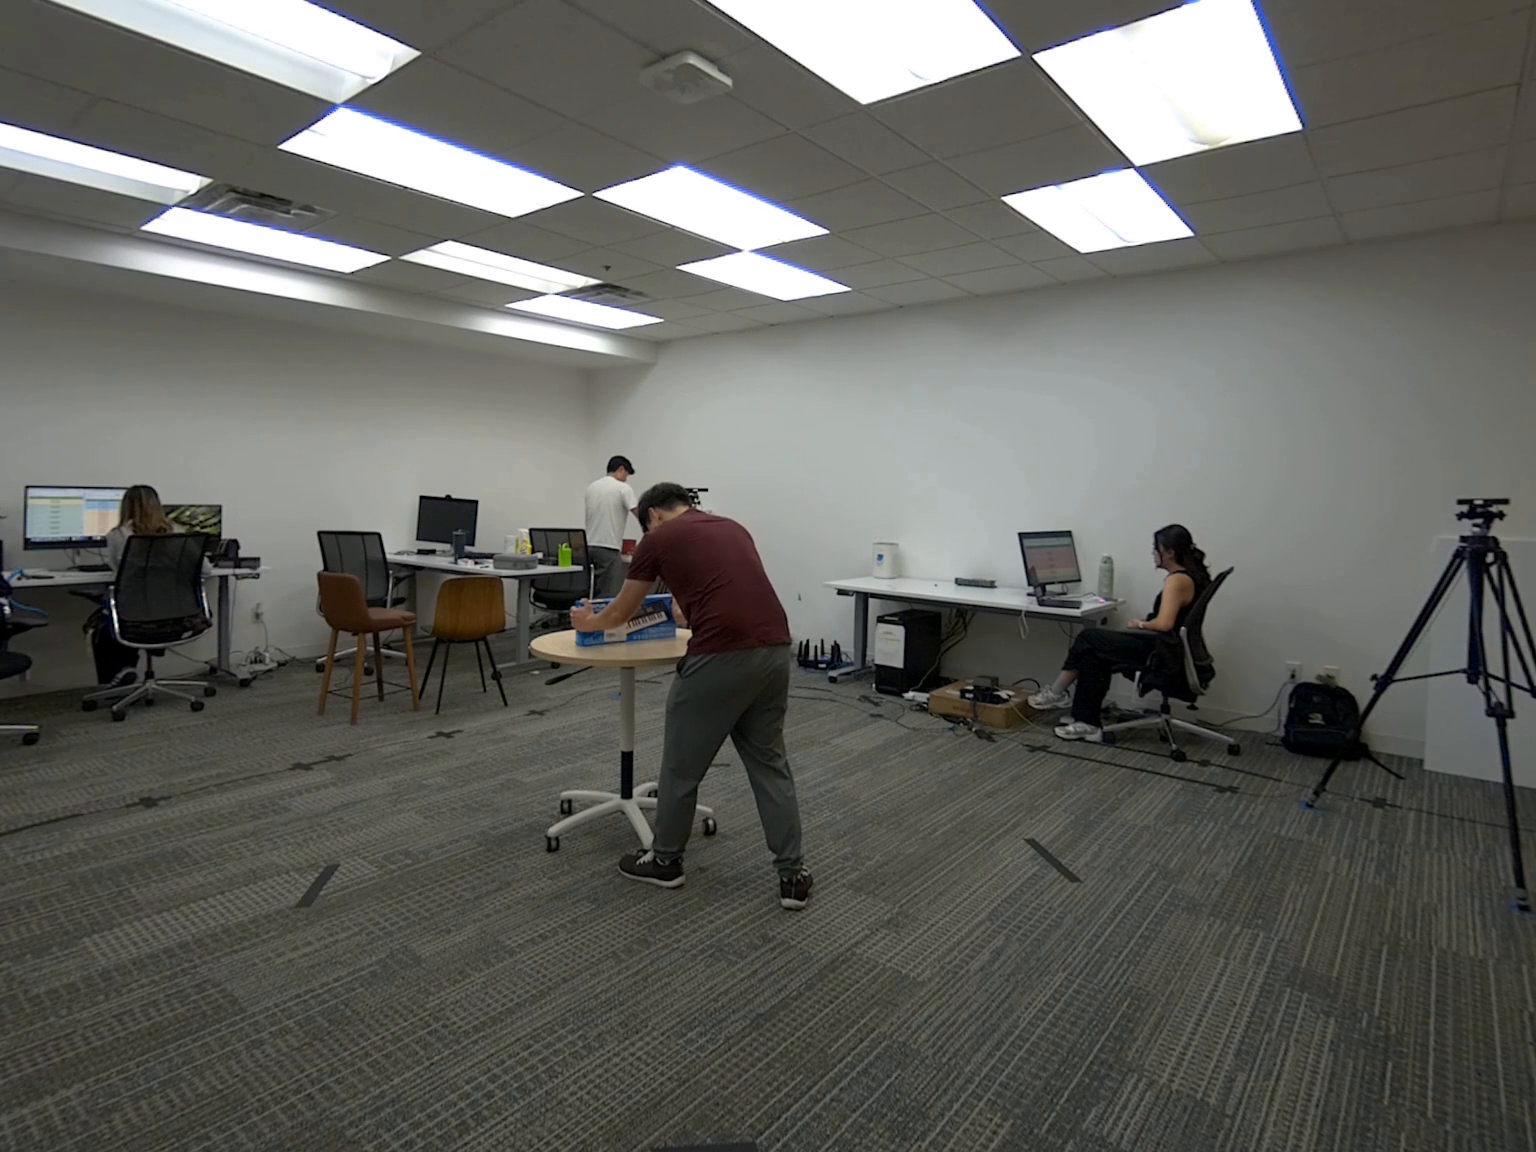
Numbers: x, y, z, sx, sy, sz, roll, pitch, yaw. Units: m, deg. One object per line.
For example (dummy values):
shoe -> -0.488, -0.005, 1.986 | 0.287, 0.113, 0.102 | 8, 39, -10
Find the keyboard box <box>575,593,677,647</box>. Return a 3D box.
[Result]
keyboard box -> -0.583, 0.178, 3.426 | 0.424, 0.176, 0.061 | -4, 2, -38
